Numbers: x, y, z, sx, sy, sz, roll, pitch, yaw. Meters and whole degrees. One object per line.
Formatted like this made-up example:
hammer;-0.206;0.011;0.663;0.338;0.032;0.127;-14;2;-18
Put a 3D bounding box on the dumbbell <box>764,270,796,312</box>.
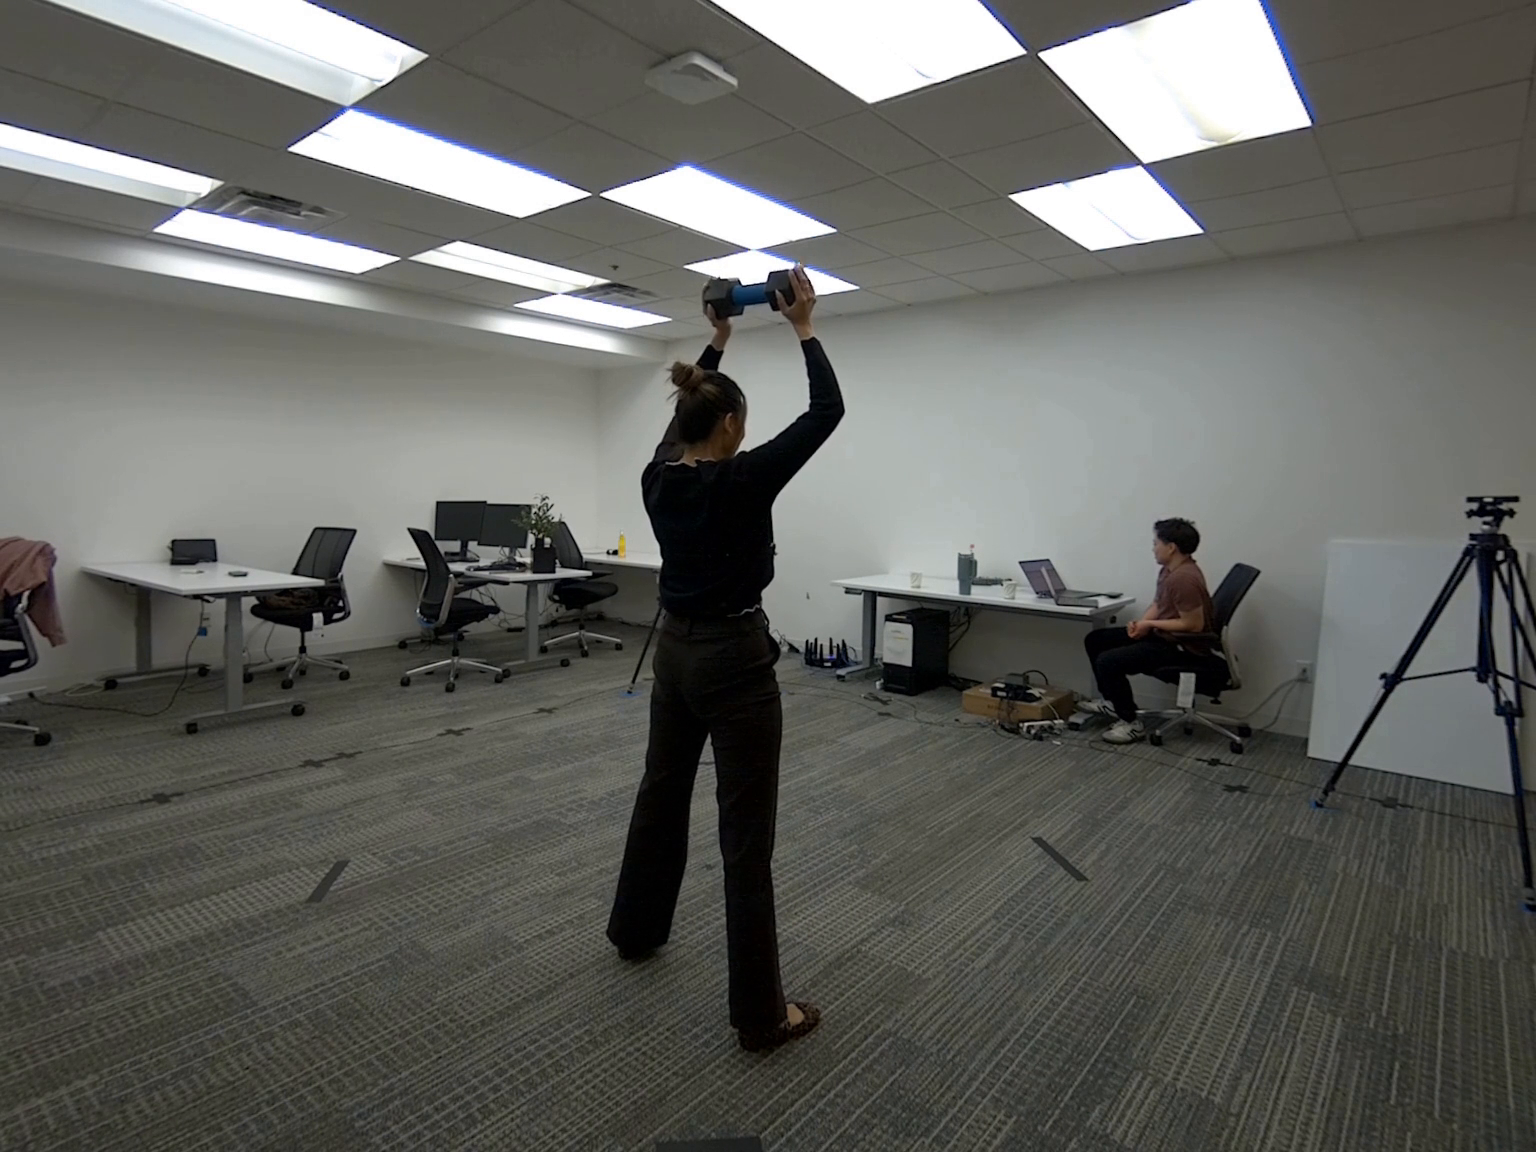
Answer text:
dumbbell;-0.041;-0.773;2.341;0.303;0.109;0.118;7;-37;37
